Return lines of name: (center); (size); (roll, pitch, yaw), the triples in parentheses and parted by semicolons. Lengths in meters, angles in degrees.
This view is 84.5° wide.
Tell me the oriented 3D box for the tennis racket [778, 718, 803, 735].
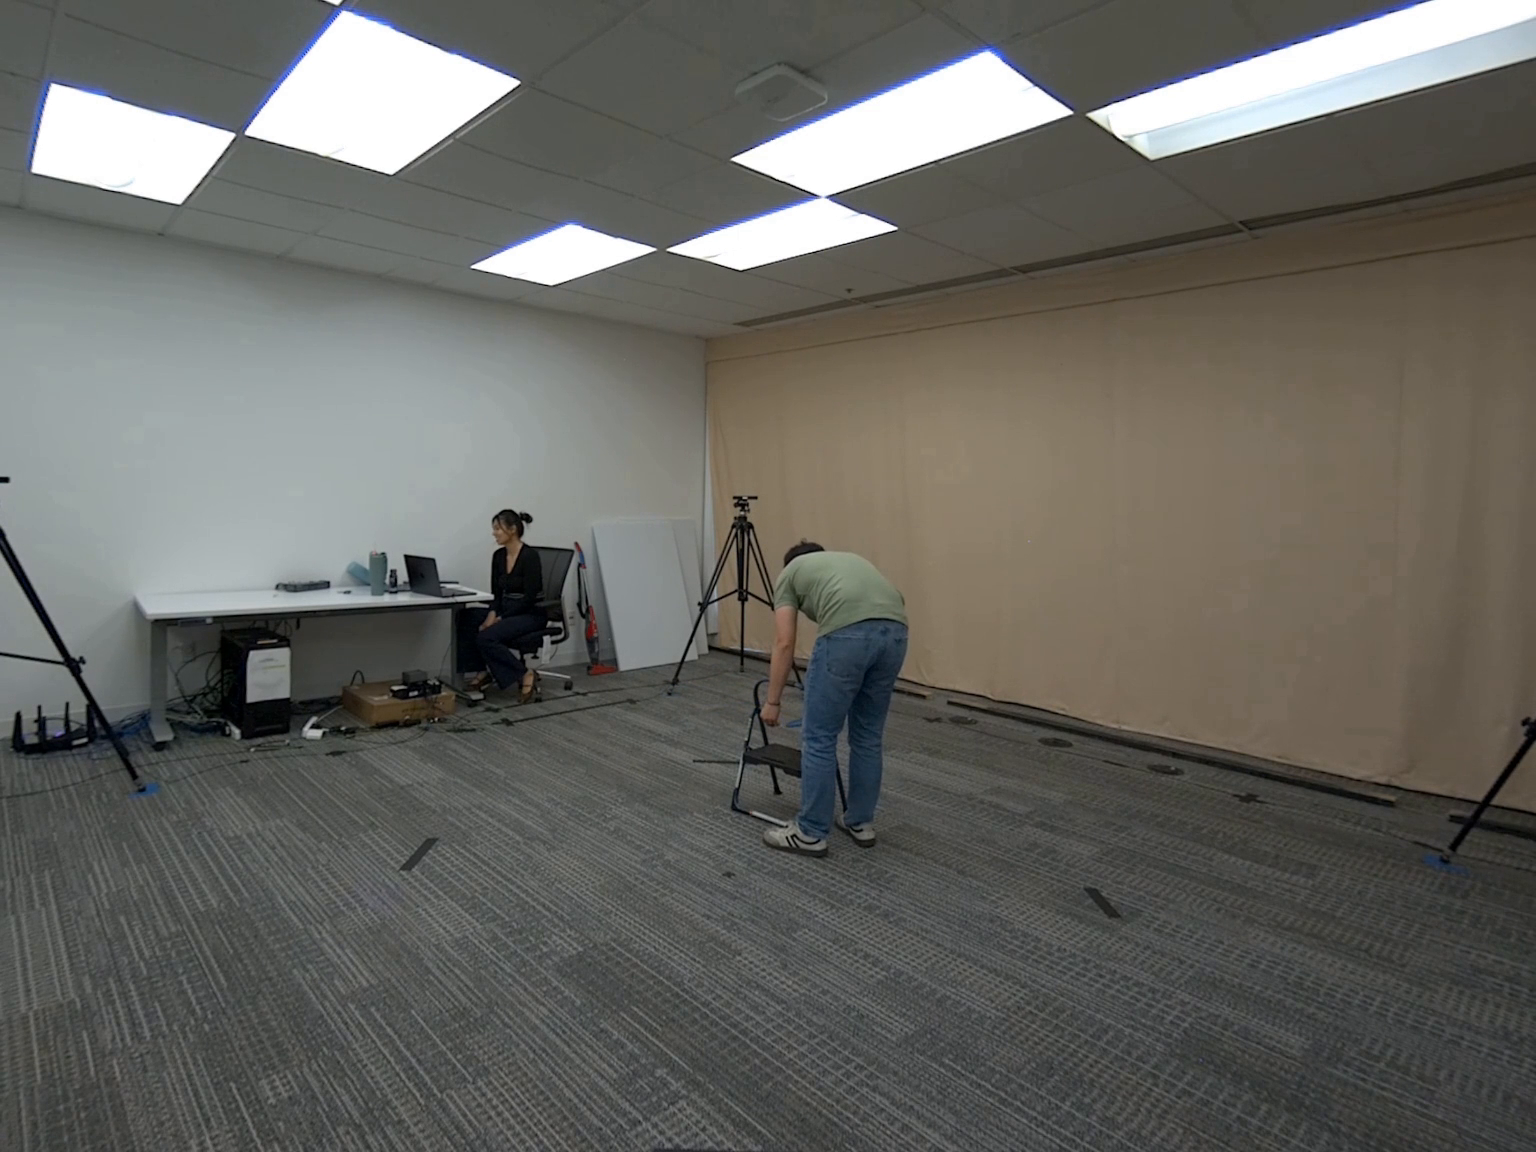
tennis racket: (0.272, 0.637, 3.805); (0.435, 0.032, 0.211); (-14, -6, 9)
